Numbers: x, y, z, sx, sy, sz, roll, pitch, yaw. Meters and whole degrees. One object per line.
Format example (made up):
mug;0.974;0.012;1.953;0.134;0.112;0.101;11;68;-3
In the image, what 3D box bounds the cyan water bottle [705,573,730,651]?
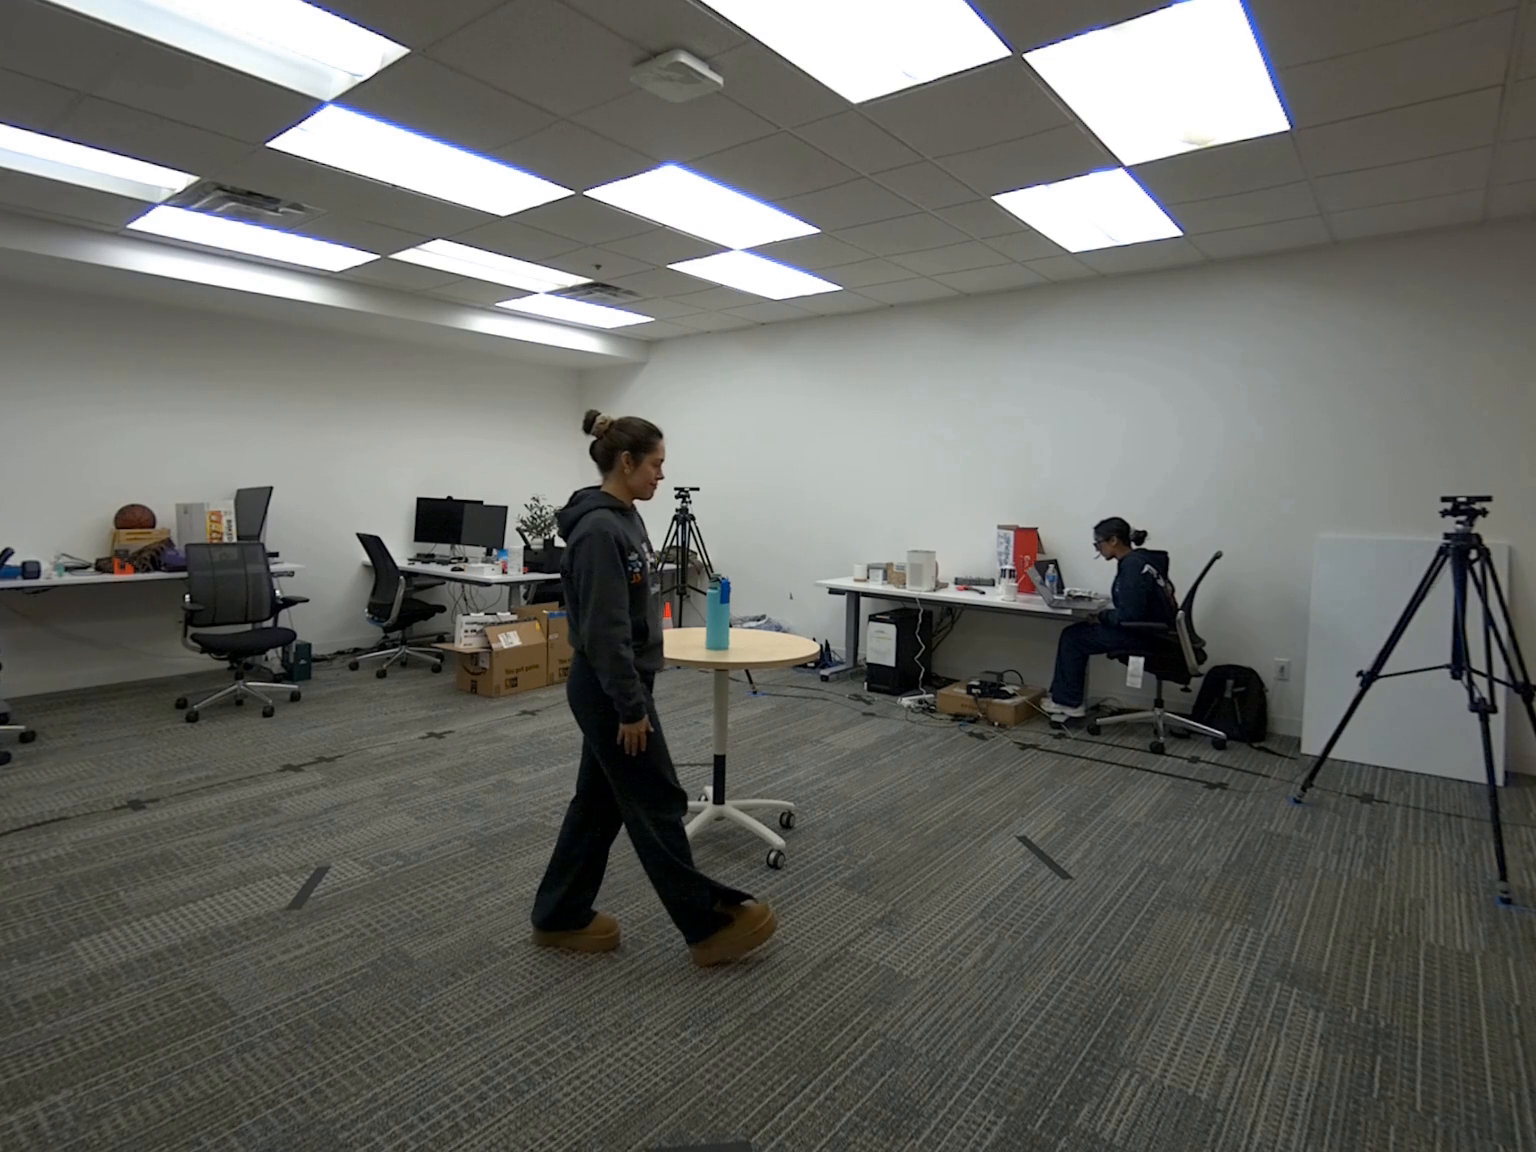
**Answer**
cyan water bottle;-0.194;0.134;3.229;0.092;0.282;0.093;1;5;-2
